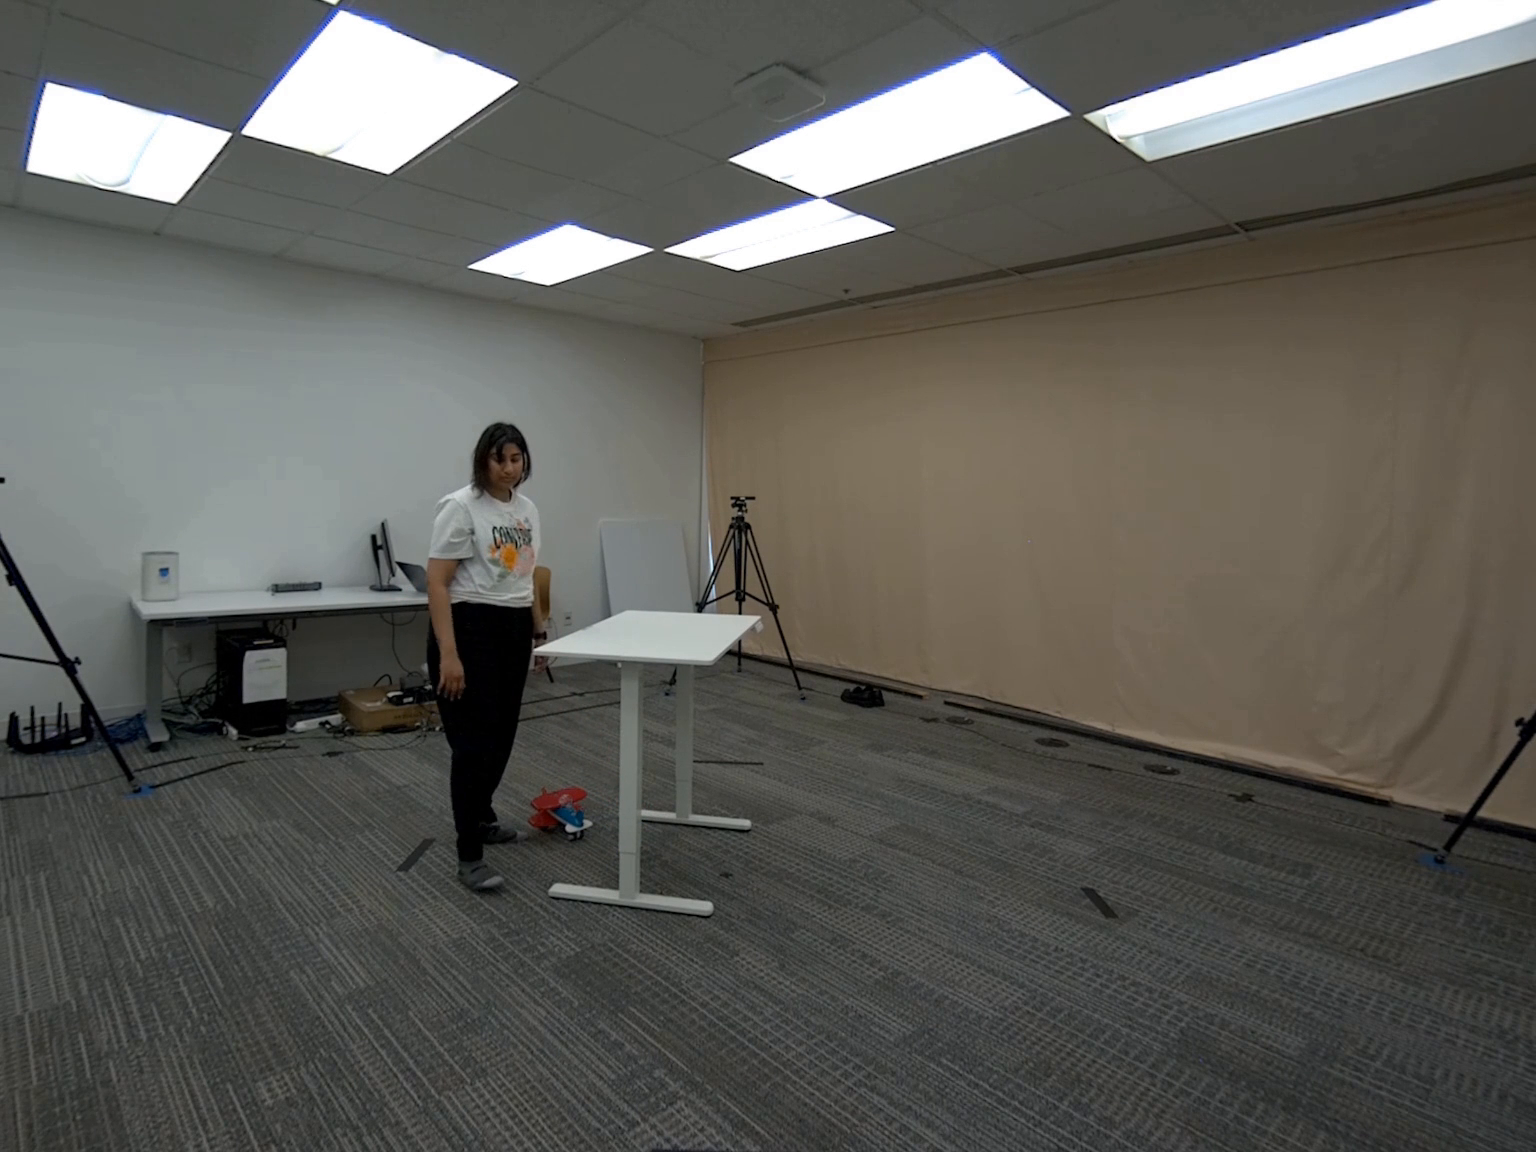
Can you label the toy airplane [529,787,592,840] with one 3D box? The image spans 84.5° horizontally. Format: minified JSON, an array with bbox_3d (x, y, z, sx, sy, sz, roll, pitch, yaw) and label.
[{"bbox_3d":[-0.846,0.984,3.473,0.262,0.156,0.248,1,3,15],"label":"toy airplane"}]
